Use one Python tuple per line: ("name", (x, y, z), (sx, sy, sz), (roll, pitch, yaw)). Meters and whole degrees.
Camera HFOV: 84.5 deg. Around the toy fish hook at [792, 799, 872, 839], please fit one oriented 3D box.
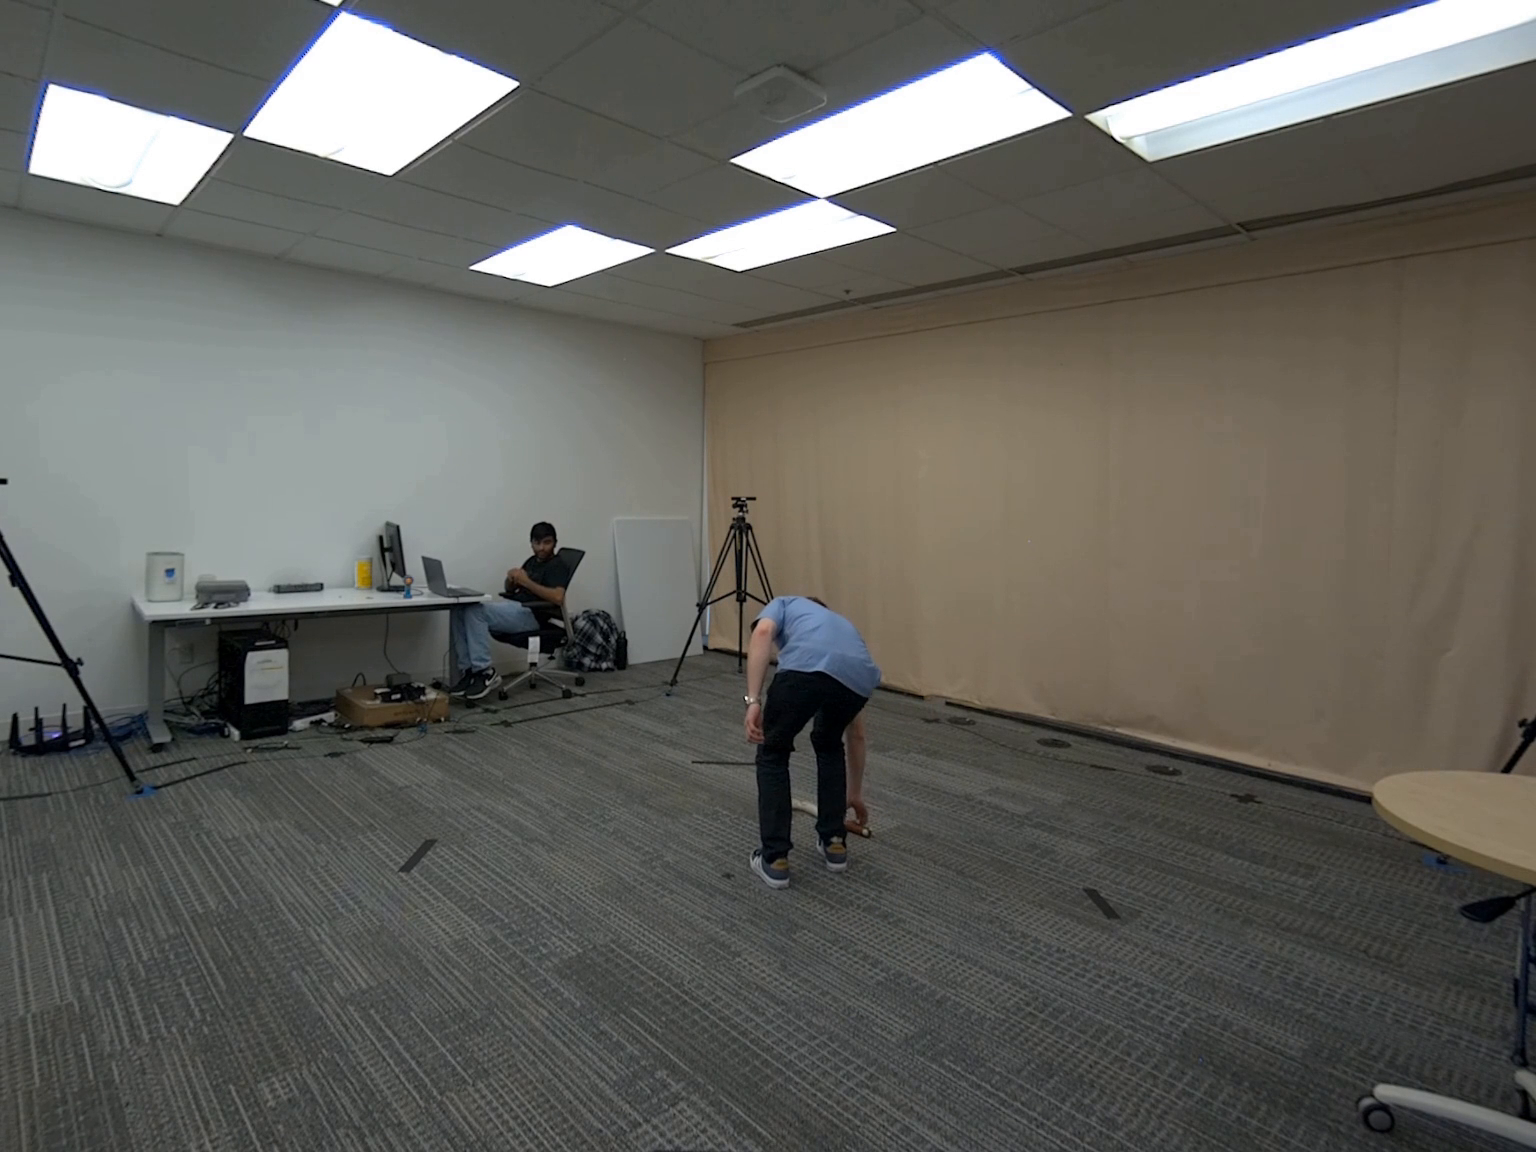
("toy fish hook", (0.199, 1.055, 3.629), (0.519, 0.048, 0.220), (6, 13, 43))
